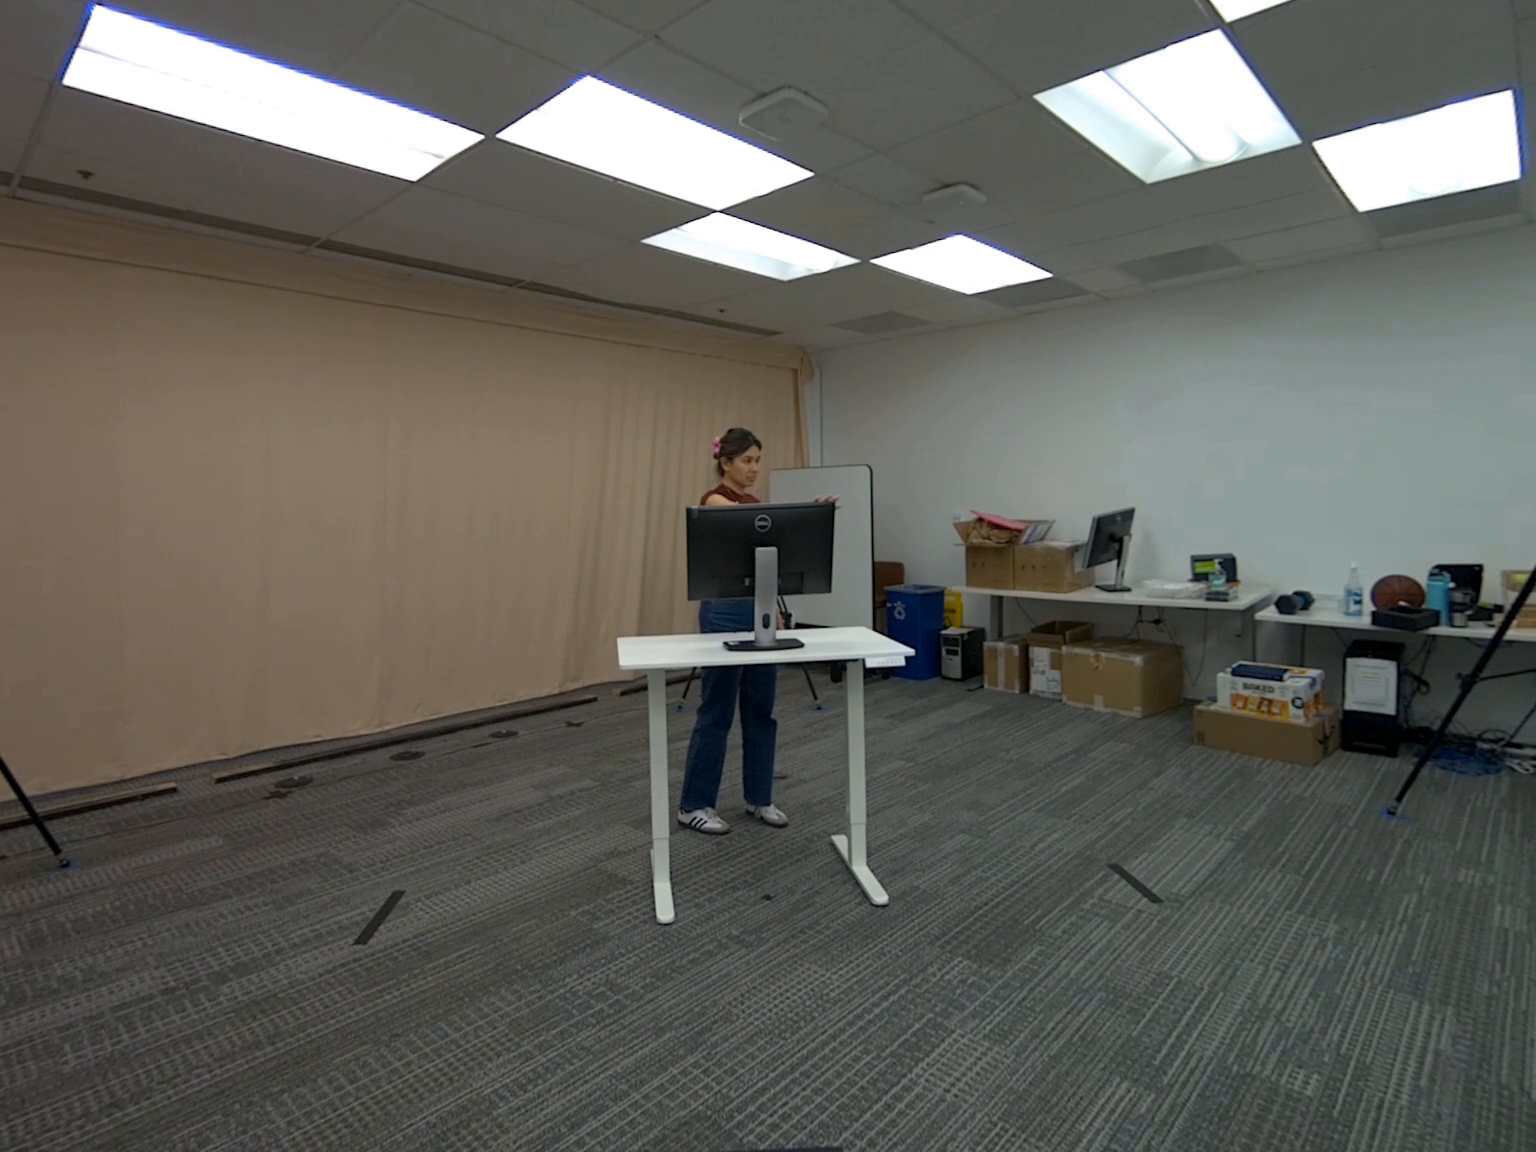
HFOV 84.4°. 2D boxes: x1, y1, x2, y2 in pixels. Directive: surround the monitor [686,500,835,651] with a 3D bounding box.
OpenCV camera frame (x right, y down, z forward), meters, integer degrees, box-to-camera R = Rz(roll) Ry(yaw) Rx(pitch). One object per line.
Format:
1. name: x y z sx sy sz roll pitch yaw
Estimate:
1. monitor: -0.013 0.002 2.997 0.533 0.521 0.190 -3 5 -10
